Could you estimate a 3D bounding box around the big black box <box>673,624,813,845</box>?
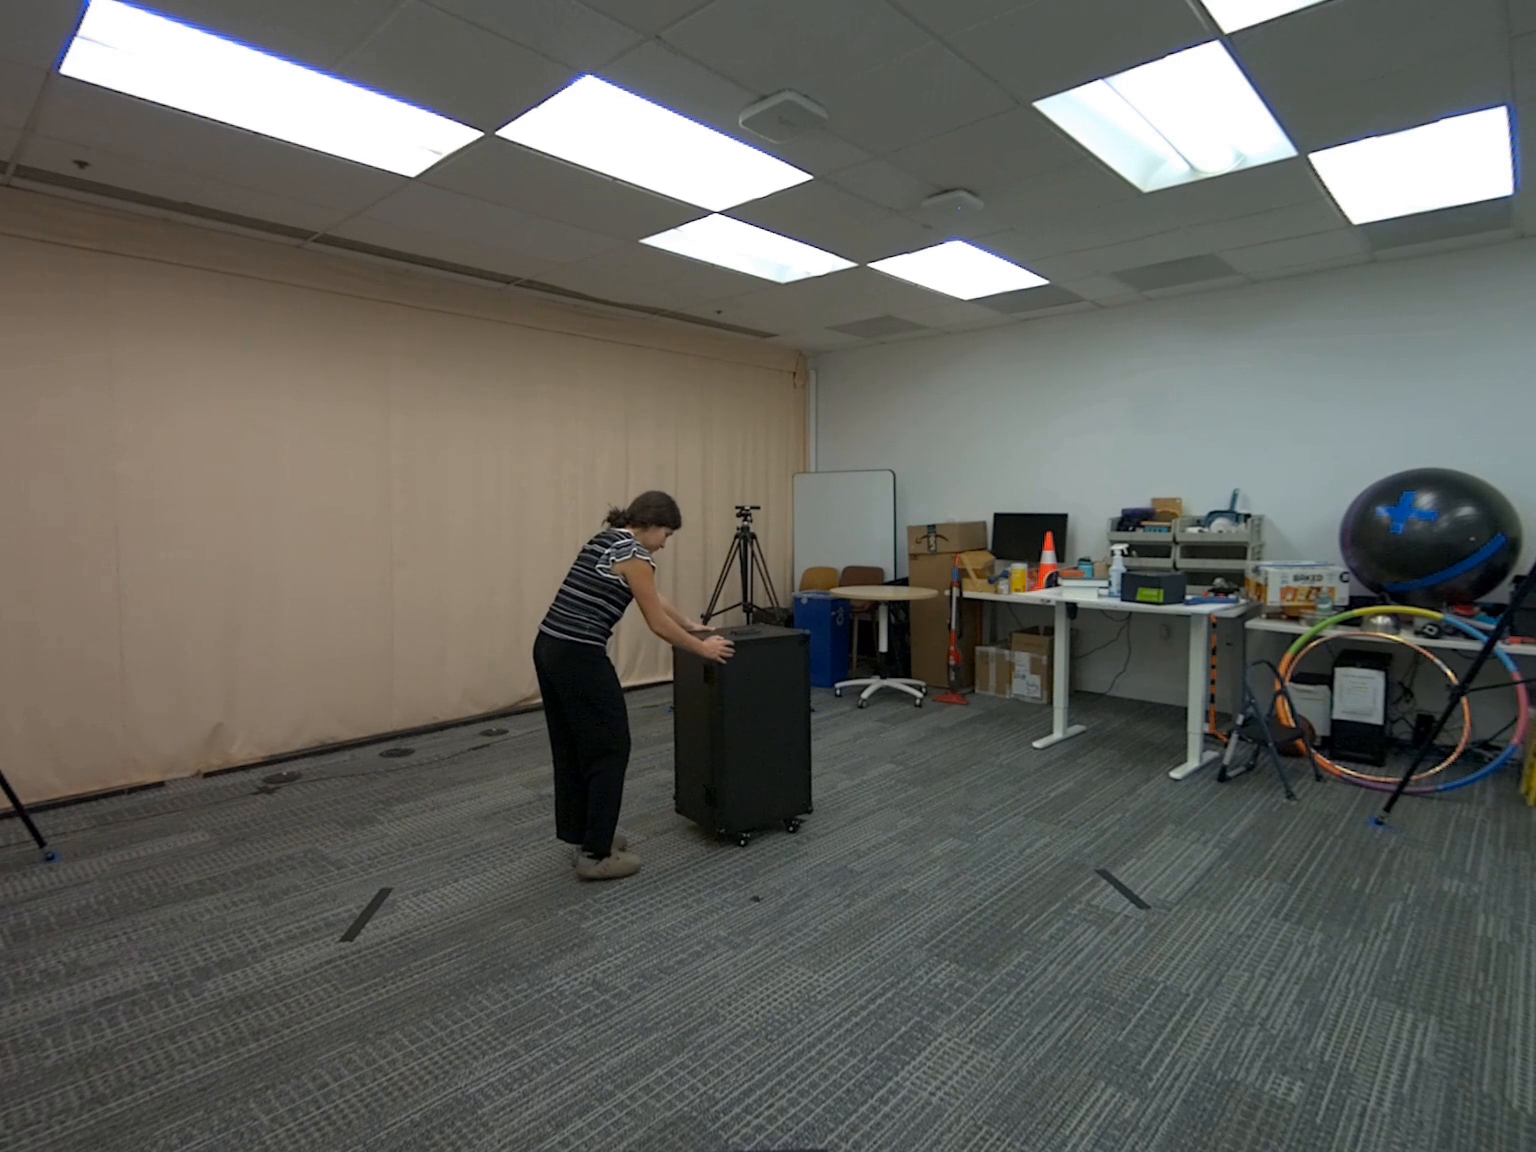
[{"bbox_3d":[-0.118,0.668,3.630,0.506,0.860,0.408,-2,2,-35],"label":"big black box"}]
